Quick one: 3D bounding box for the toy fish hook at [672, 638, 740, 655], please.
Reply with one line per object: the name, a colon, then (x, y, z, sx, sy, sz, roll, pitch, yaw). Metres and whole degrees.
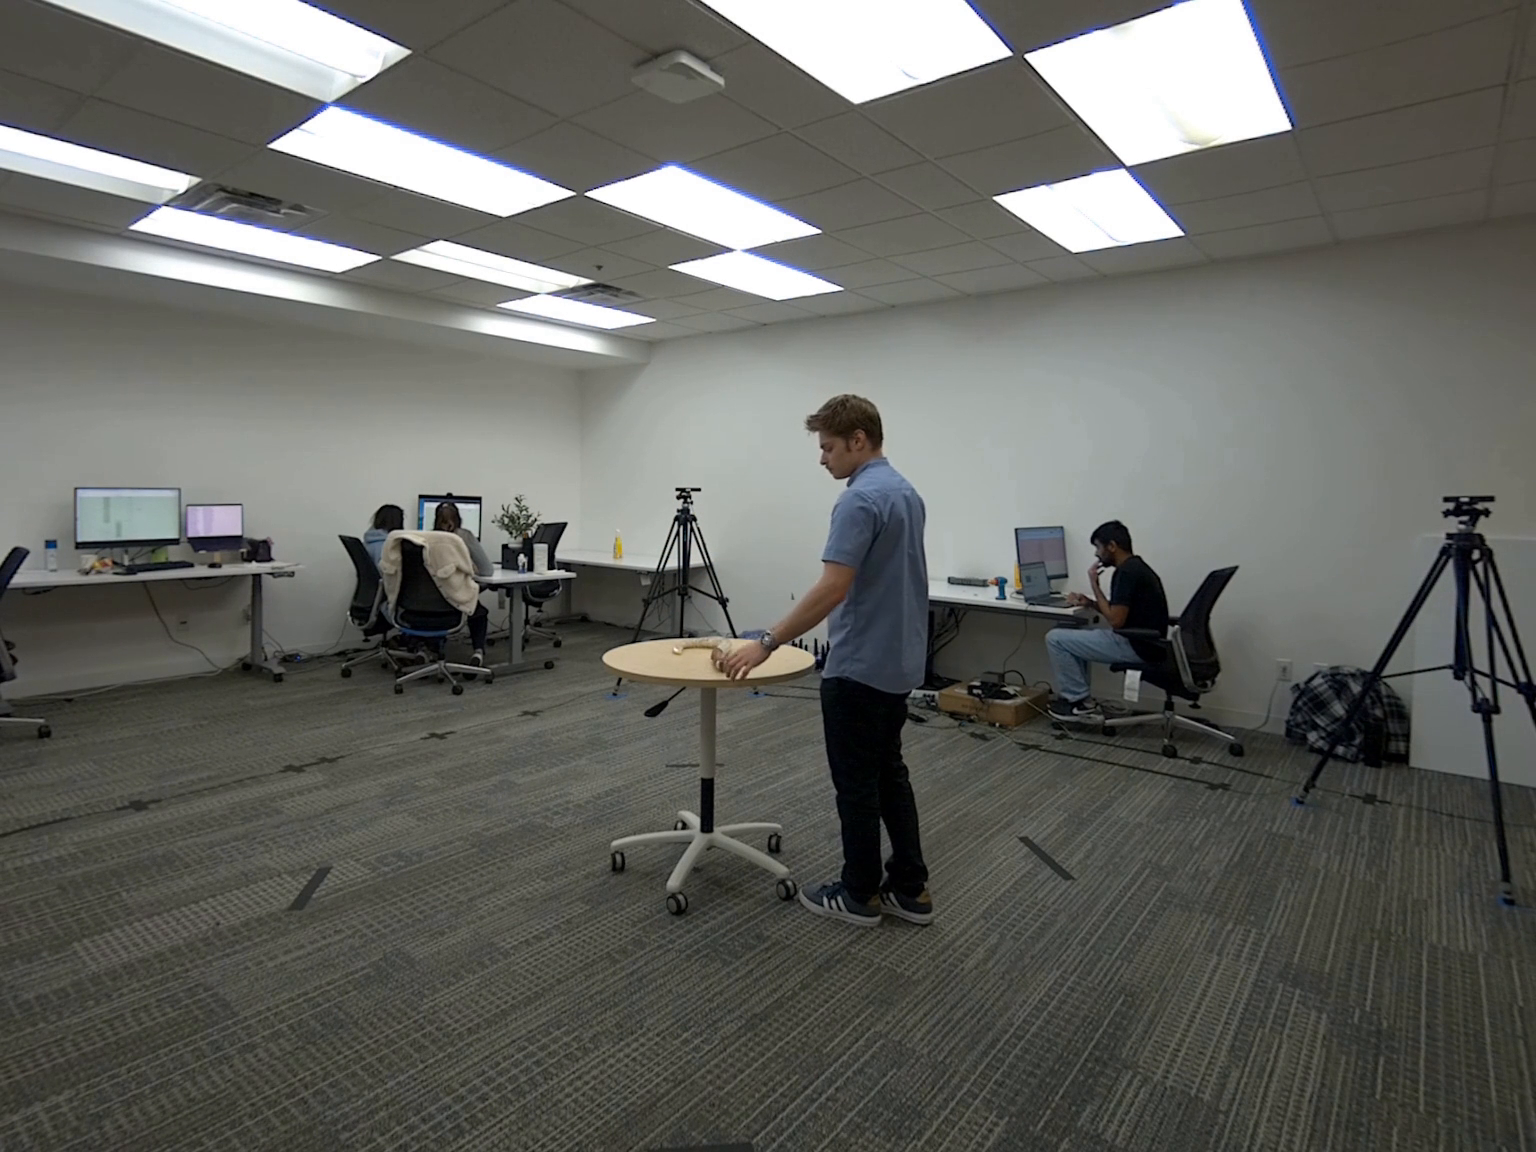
toy fish hook: (-0.235, 0.279, 3.034, 0.224, 0.048, 0.510, -9, 5, -4)
